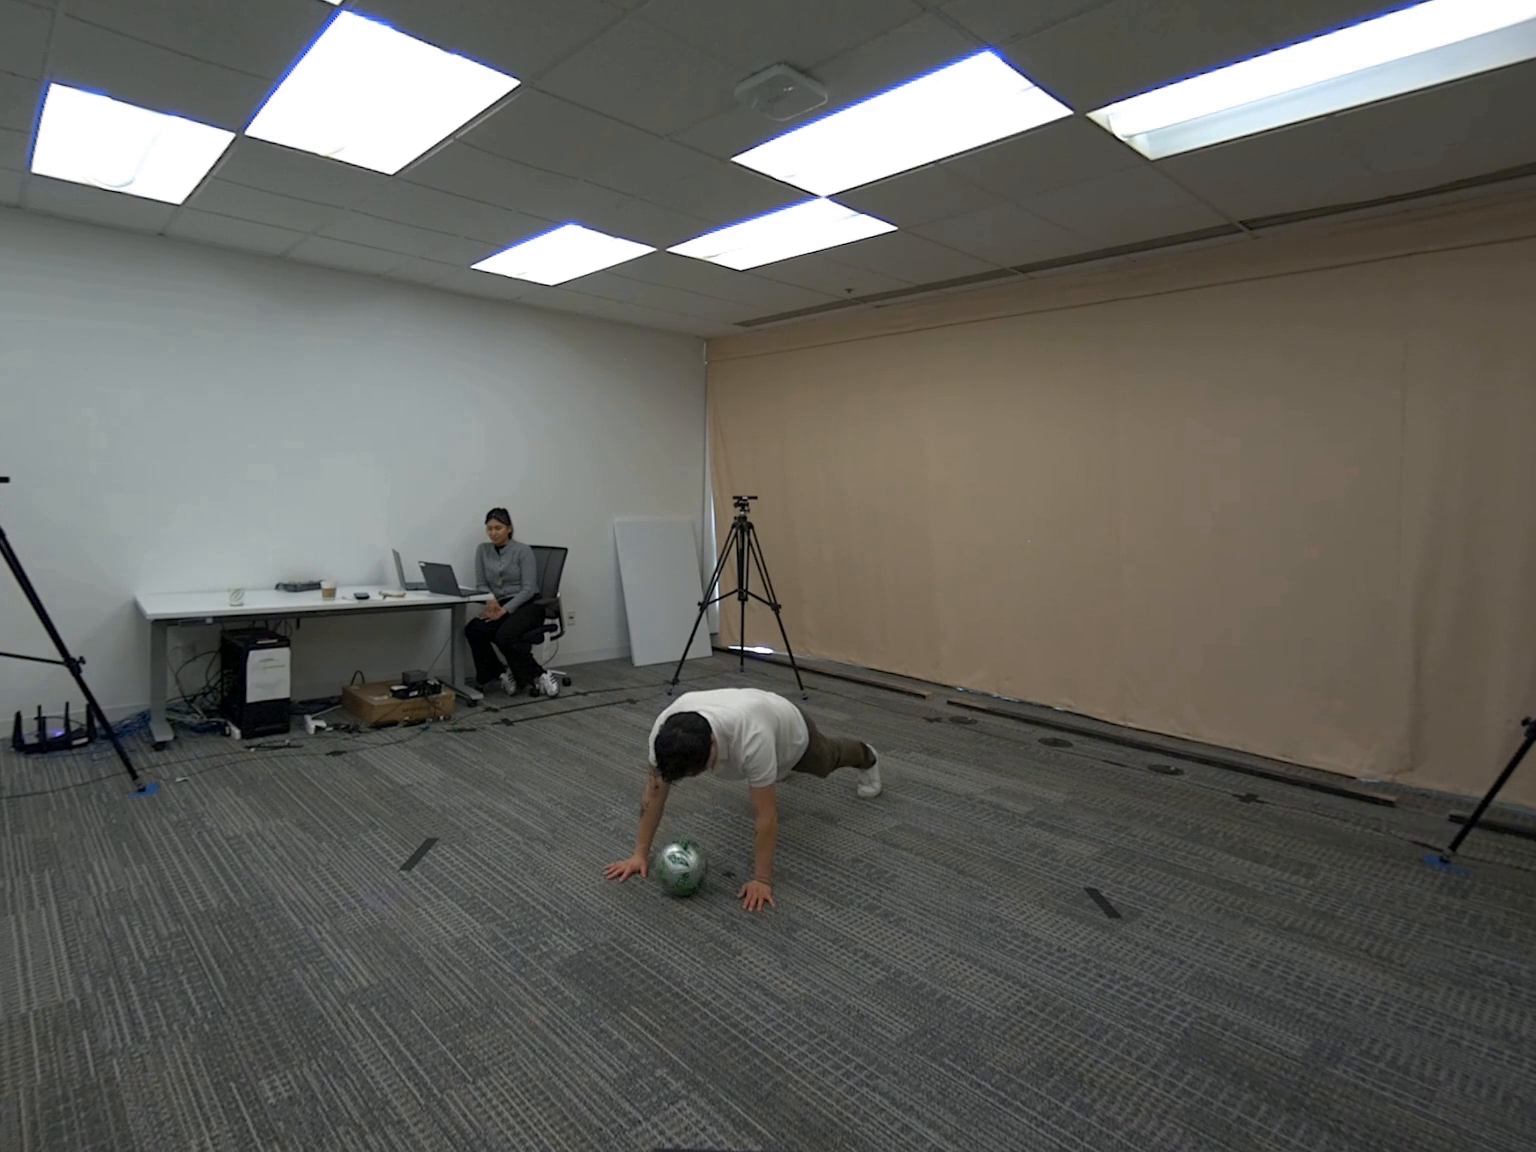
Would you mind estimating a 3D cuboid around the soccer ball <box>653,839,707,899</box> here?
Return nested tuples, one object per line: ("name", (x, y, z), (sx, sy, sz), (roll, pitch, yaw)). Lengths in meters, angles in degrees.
("soccer ball", (-0.314, 1.021, 2.948), (0.187, 0.187, 0.188), (1, 4, -1))
